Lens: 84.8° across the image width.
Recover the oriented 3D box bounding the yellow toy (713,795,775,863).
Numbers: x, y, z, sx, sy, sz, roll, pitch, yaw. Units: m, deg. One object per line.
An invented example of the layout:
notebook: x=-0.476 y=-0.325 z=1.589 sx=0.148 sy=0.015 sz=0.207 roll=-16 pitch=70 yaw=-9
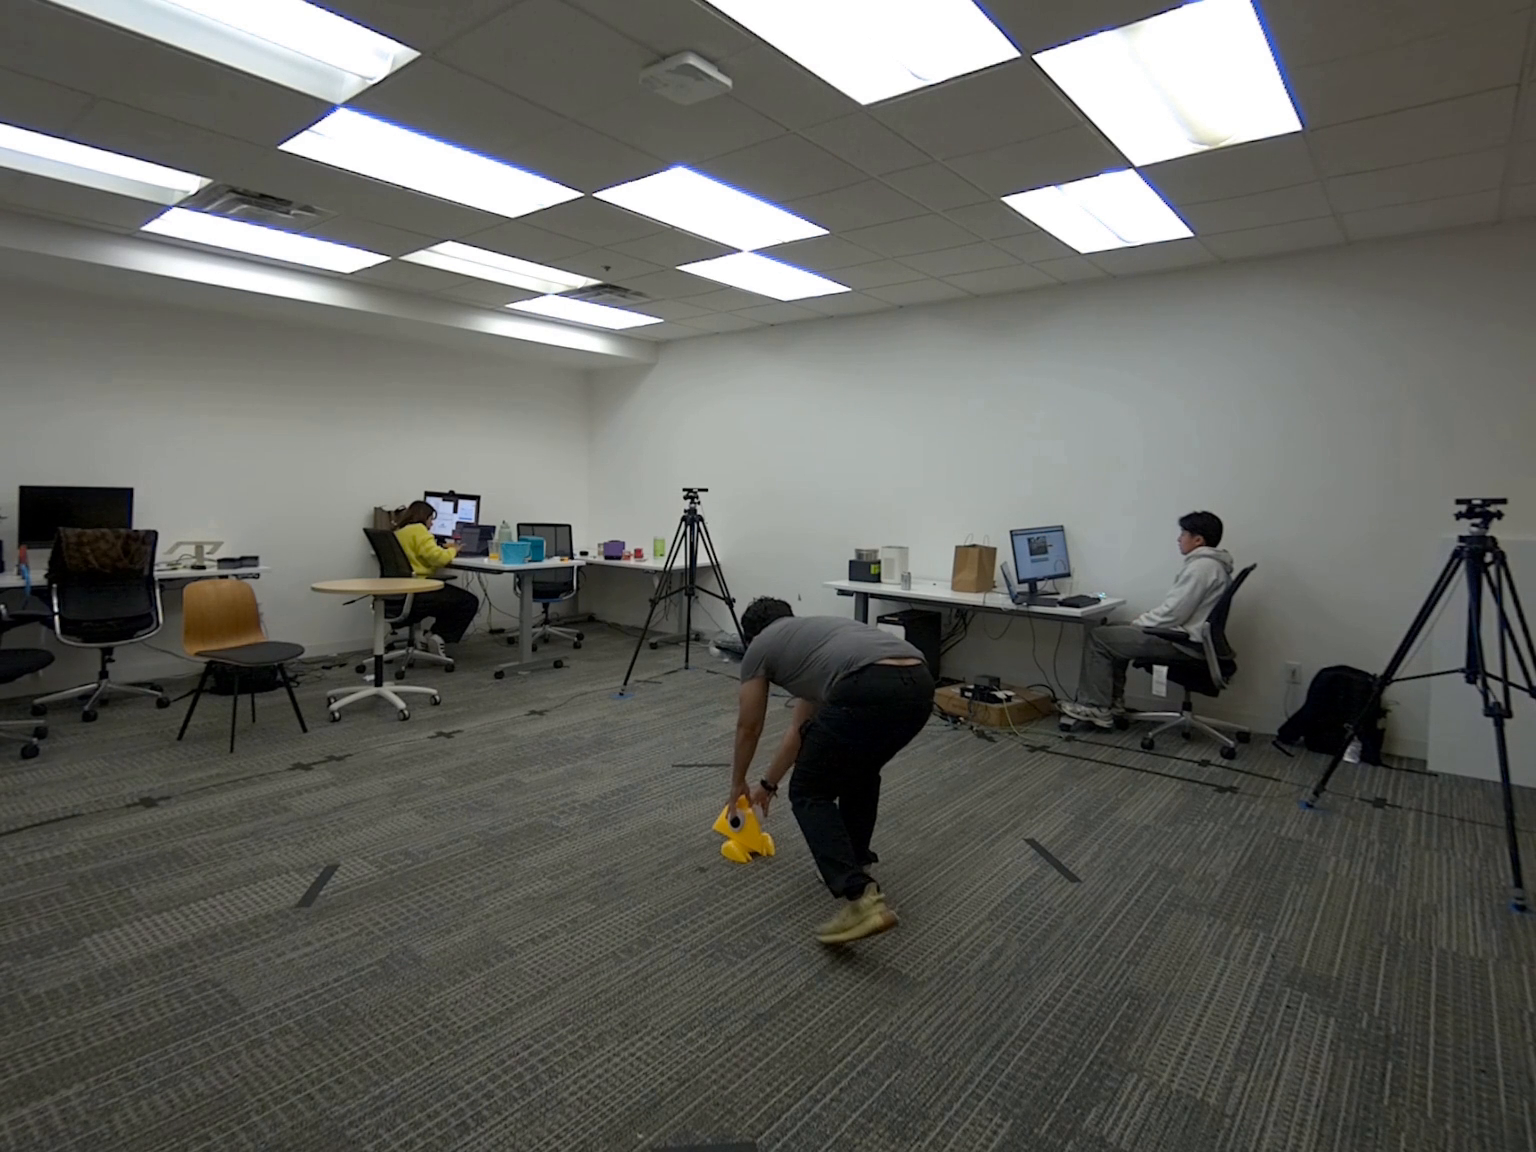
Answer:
yellow toy: x=-0.088 y=0.945 z=3.279 sx=0.199 sy=0.230 sz=0.199 roll=0 pitch=4 yaw=-34
